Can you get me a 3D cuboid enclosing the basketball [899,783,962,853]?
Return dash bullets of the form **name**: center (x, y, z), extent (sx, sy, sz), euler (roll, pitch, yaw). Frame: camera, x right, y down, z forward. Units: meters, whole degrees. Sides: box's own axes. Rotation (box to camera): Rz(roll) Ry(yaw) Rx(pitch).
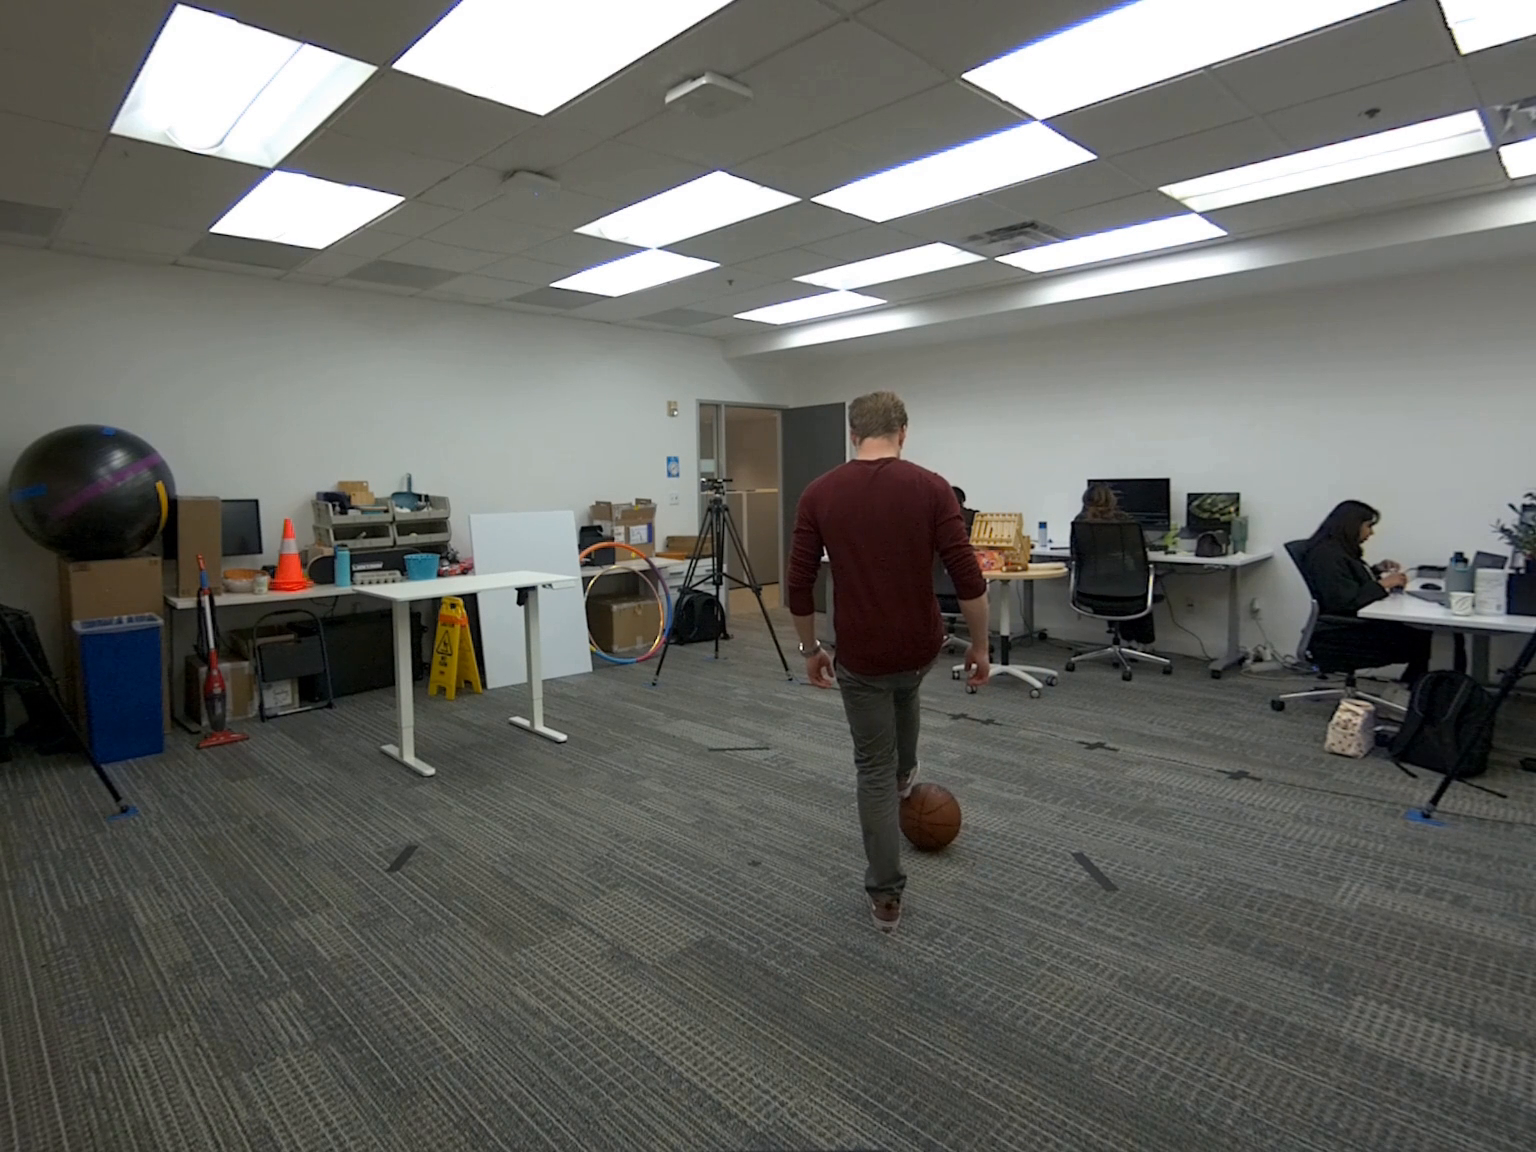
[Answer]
- **basketball**: center (0.613, 0.902, 3.219), extent (0.236, 0.235, 0.237), euler (-1, 5, -2)
